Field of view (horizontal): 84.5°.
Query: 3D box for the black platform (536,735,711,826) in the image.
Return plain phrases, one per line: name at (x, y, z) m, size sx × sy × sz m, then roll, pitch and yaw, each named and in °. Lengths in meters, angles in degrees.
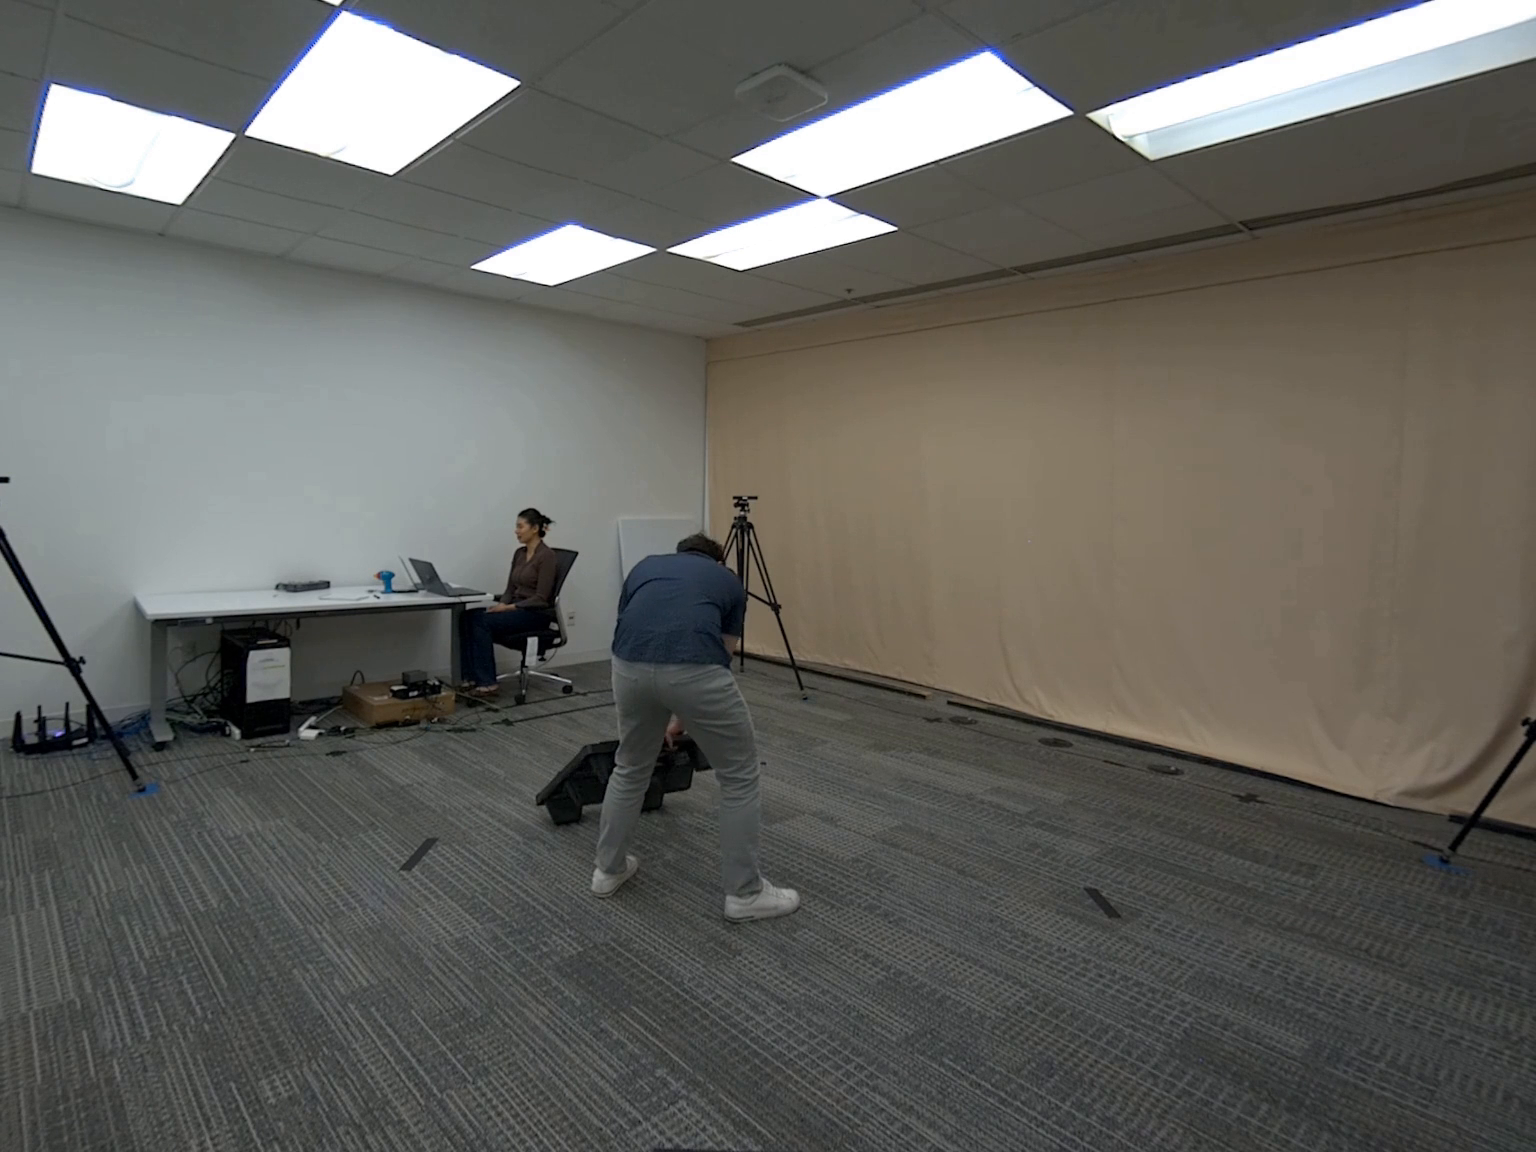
black platform at (-0.552, 0.819, 3.381) m, size 0.593 × 0.146 × 0.805 m, roll -2°, pitch -26°, yaw -29°
